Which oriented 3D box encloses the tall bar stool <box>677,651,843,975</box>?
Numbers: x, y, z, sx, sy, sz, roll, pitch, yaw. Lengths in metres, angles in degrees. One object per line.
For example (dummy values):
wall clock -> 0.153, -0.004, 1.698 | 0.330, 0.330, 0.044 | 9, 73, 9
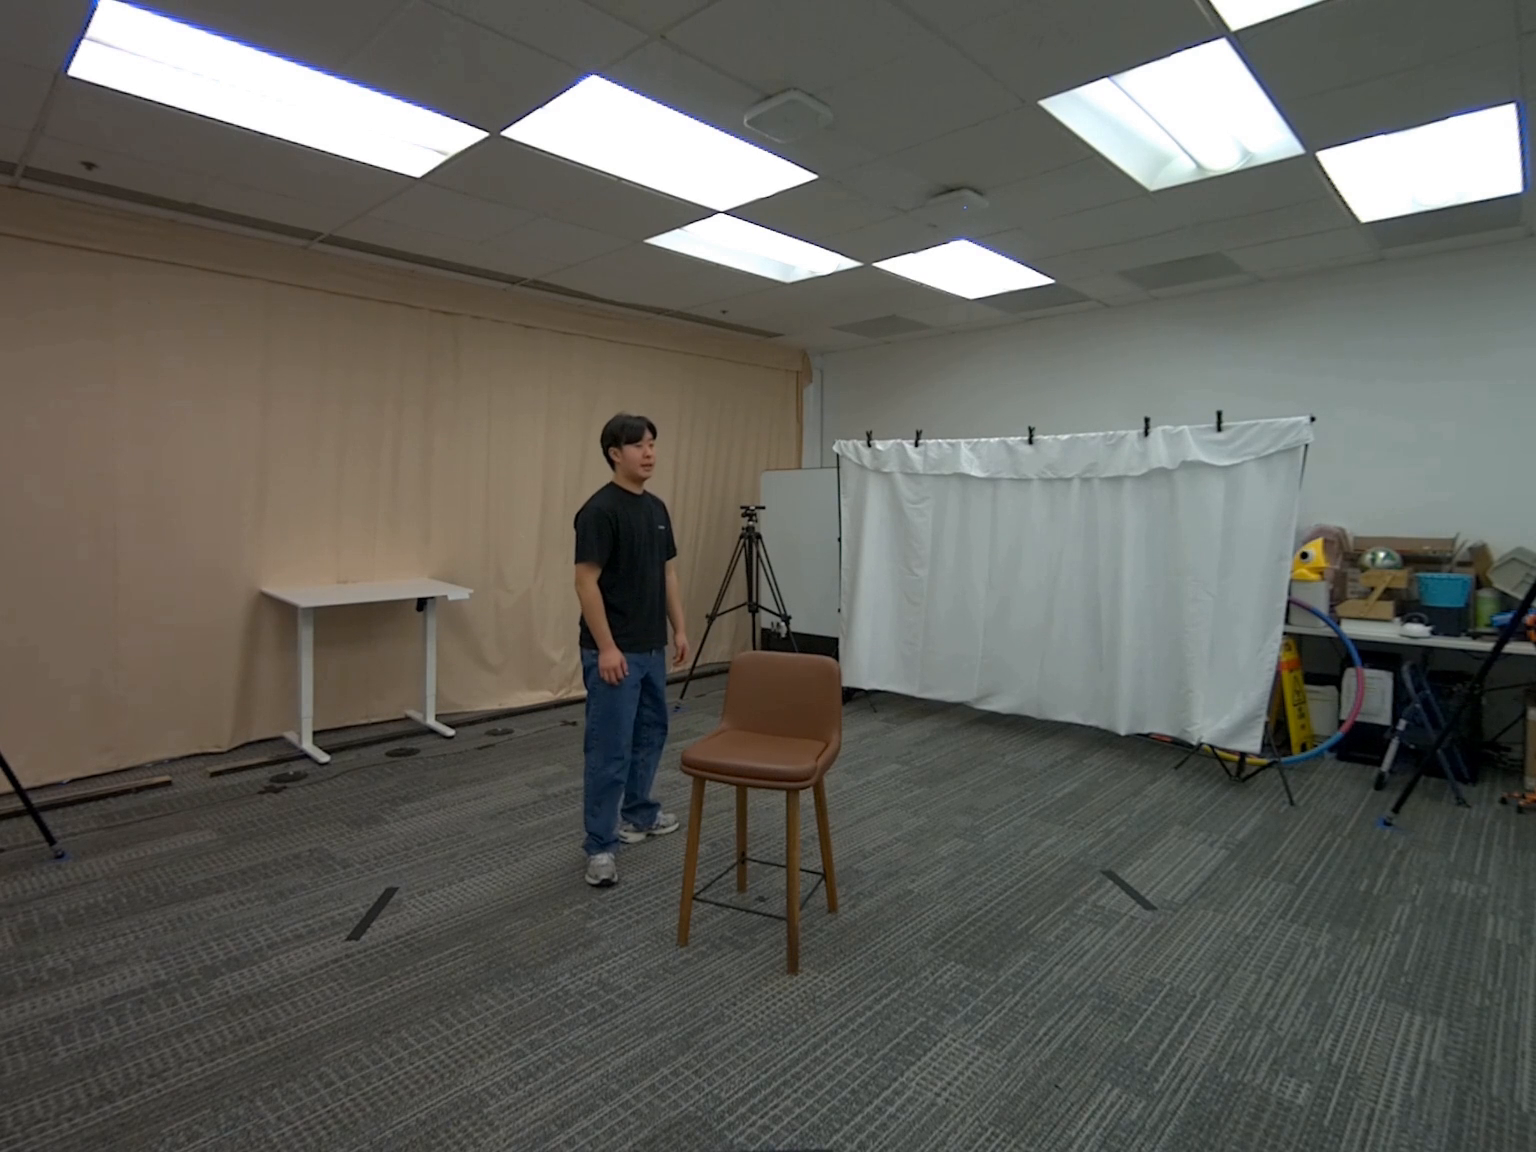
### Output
tall bar stool -> -0.008, 0.728, 2.761 | 0.469, 0.889, 0.456 | 2, 2, 26
